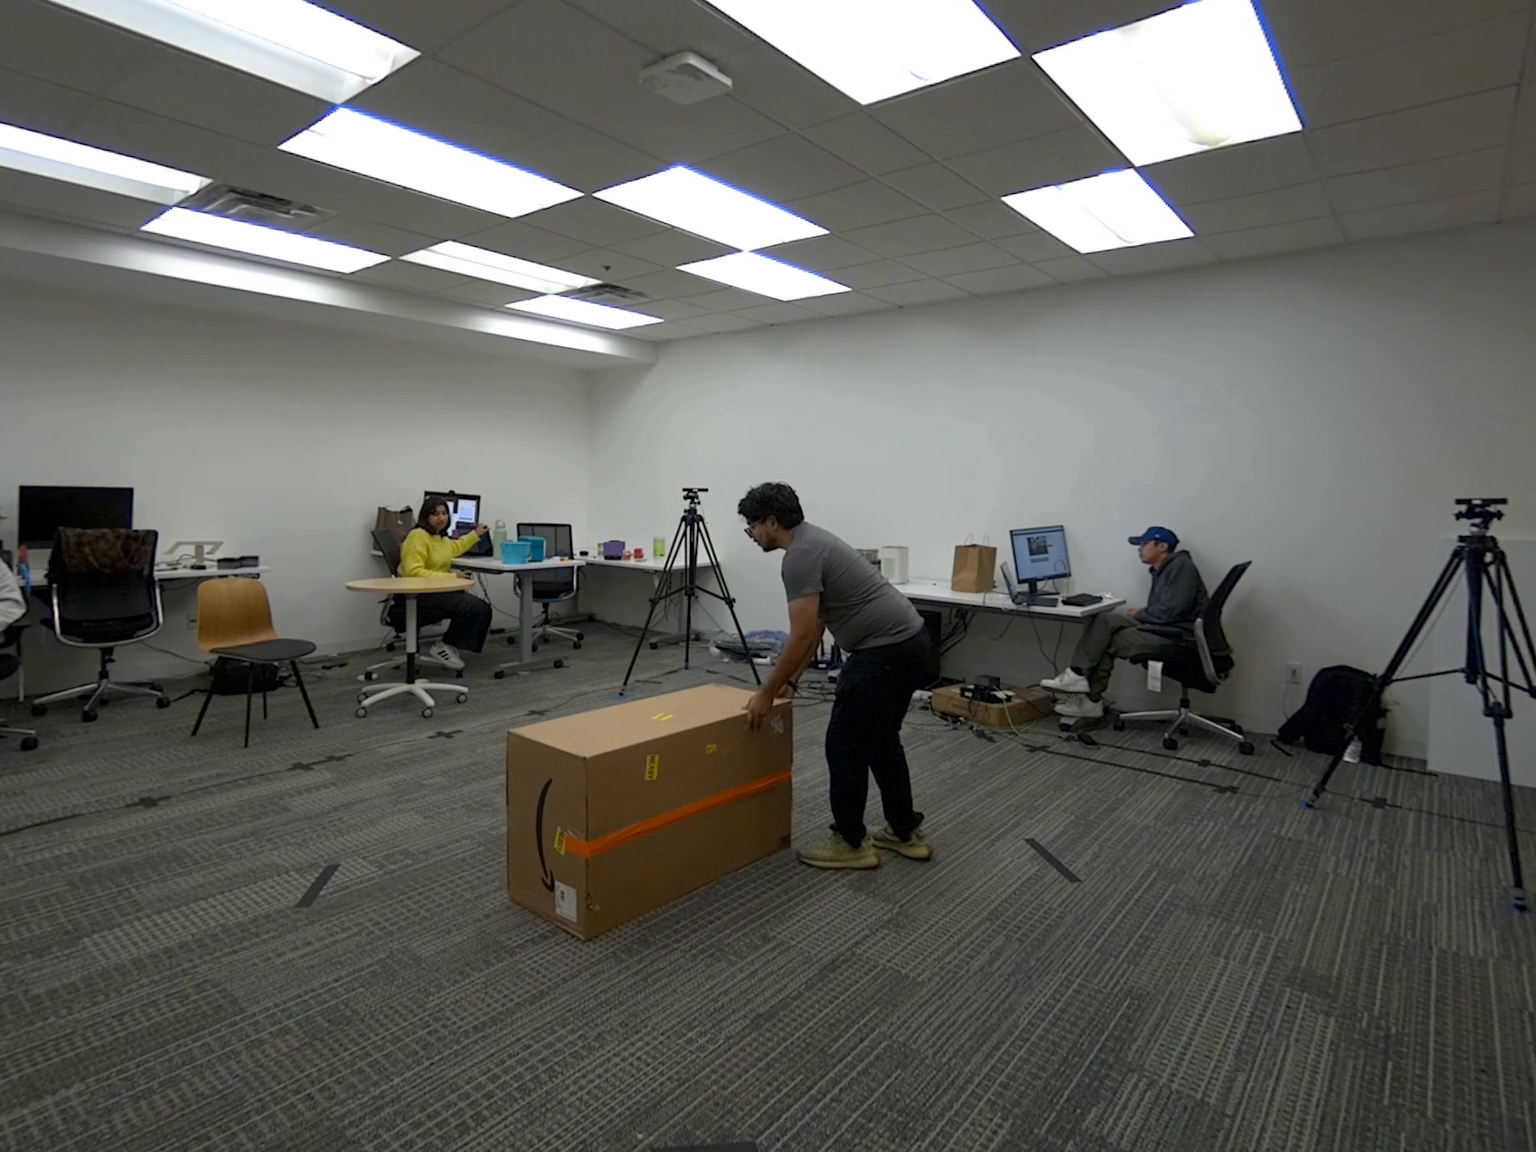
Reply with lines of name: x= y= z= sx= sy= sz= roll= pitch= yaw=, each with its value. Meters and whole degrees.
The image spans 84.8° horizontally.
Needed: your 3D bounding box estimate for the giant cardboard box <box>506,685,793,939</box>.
giant cardboard box: x=-0.402 y=0.785 z=3.086 sx=0.440 sy=0.576 sz=0.995 roll=4 pitch=5 yaw=41
